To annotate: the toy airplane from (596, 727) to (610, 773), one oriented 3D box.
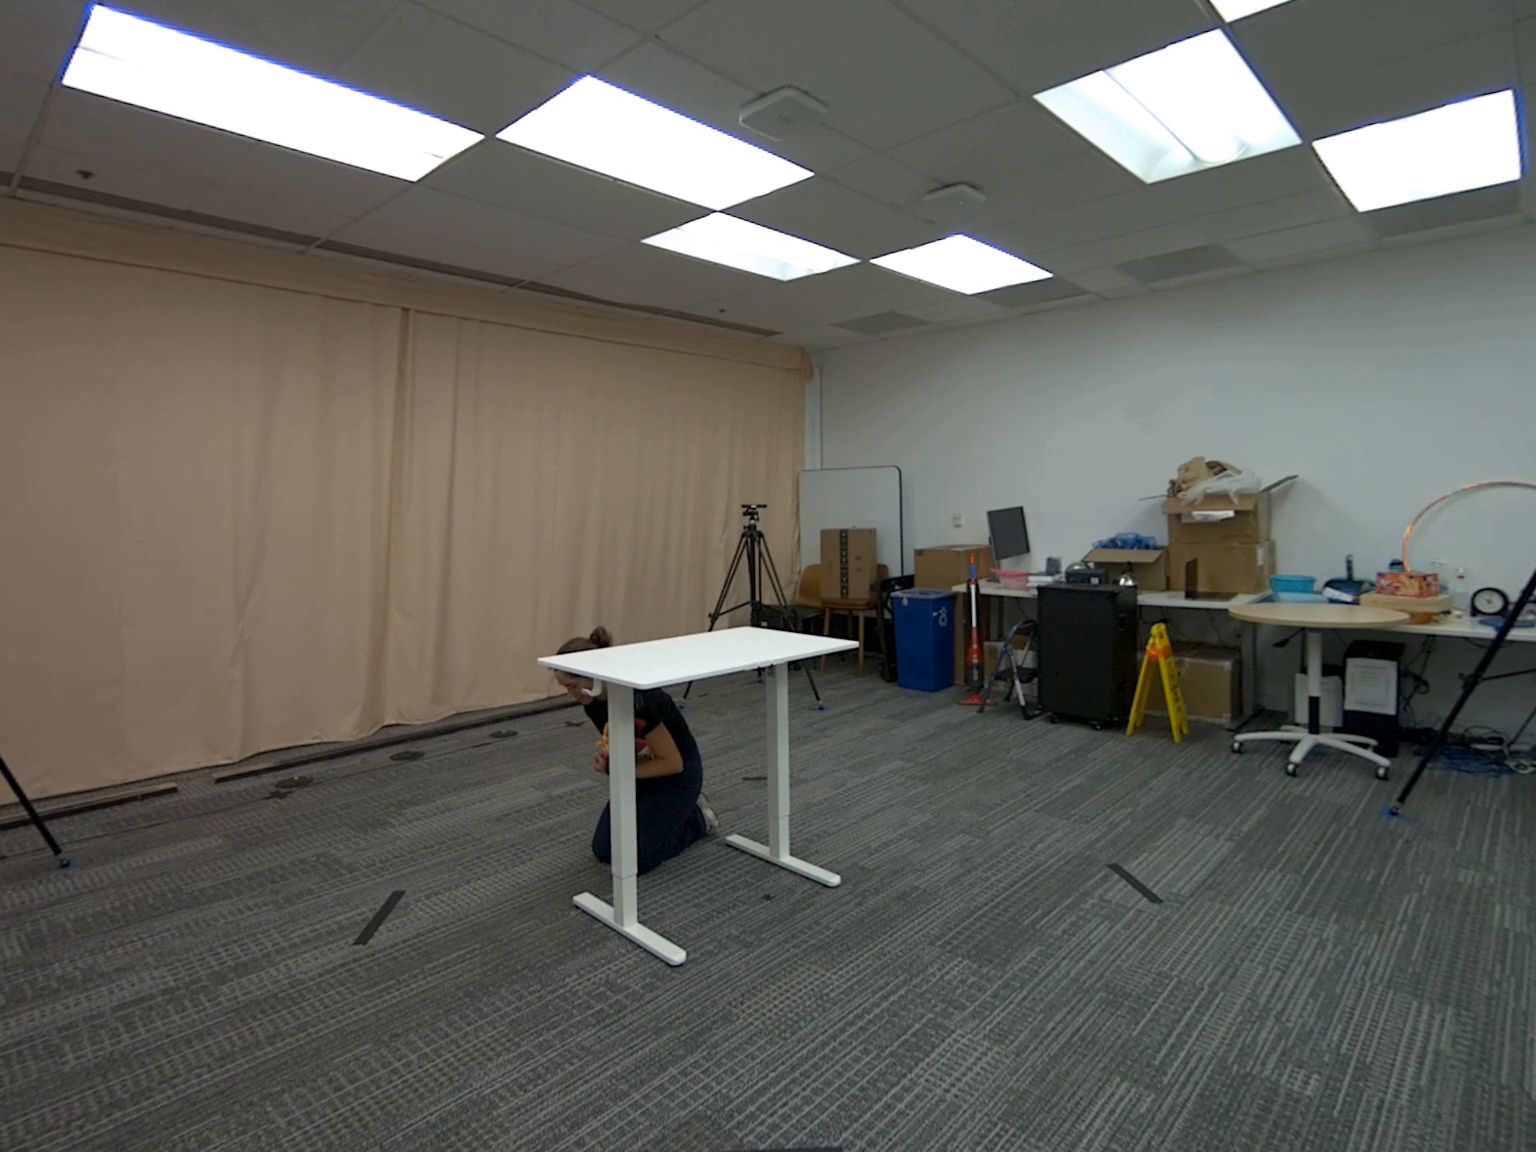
[{"bbox_3d":[-0.515,0.643,3.161,0.253,0.159,0.252,-26,-21,11],"label":"toy airplane"}]
